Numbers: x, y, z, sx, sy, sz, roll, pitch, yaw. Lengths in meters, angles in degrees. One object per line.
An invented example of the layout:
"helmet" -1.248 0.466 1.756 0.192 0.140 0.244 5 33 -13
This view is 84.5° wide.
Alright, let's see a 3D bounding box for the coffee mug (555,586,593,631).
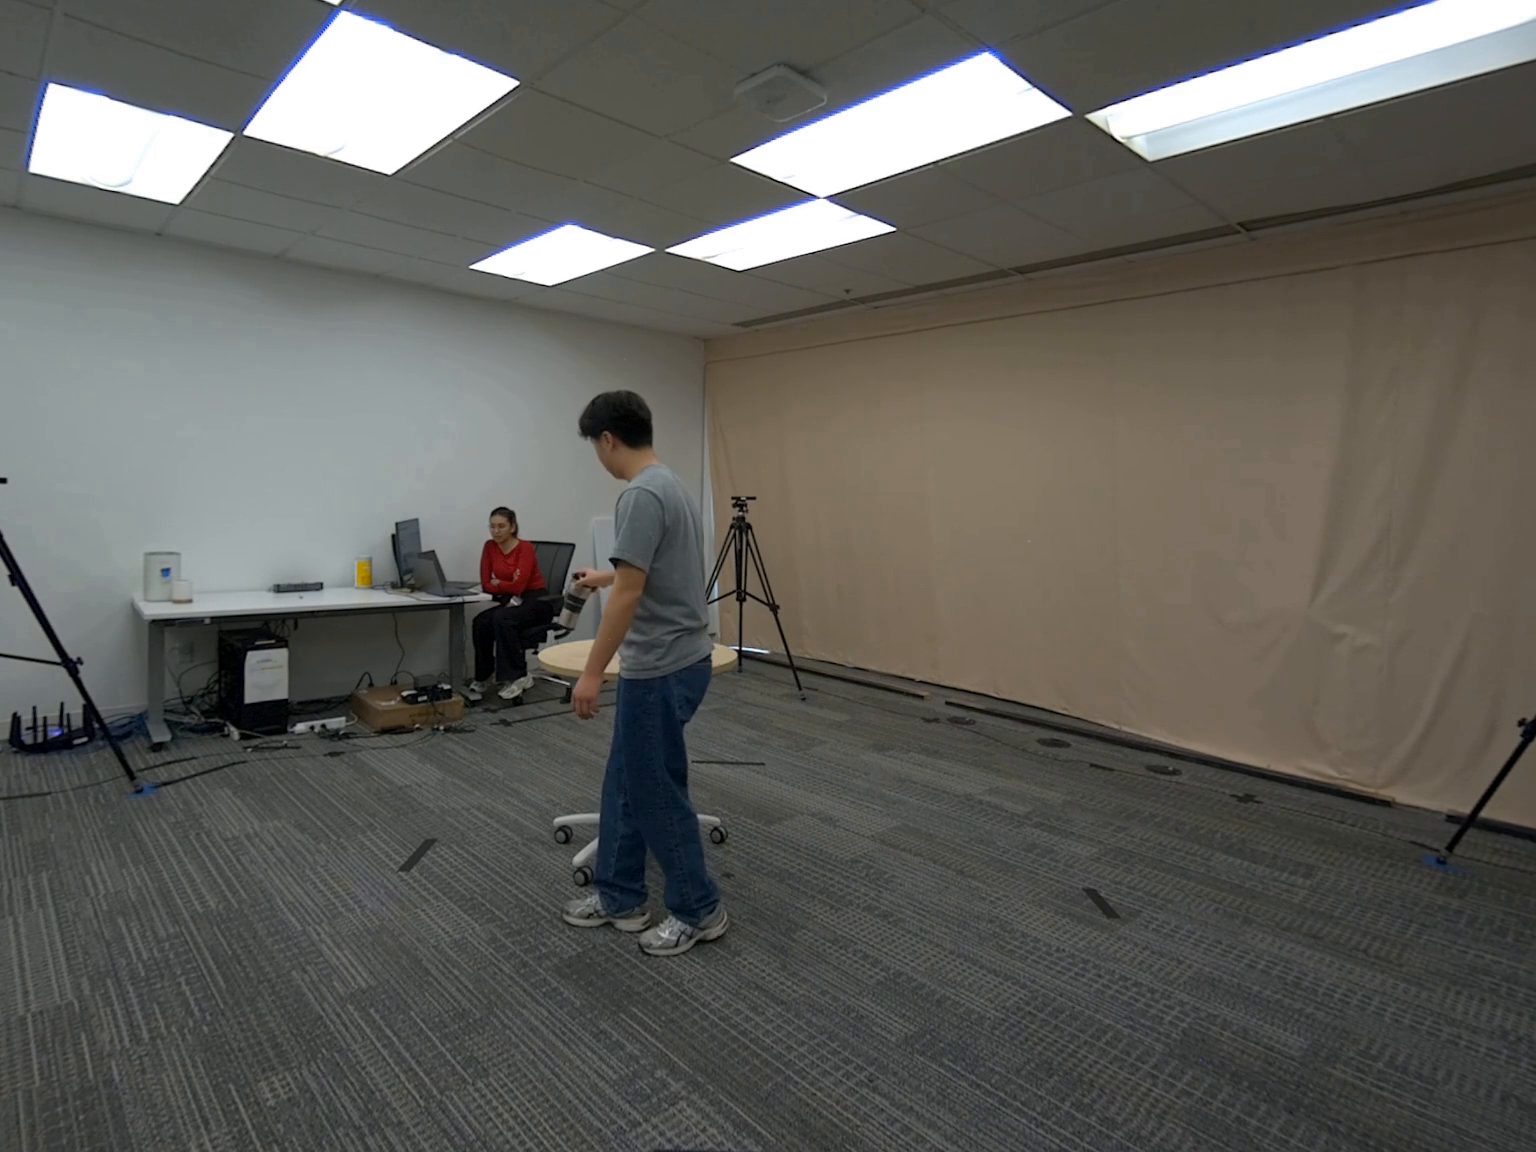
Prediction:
"coffee mug" -0.719 0.110 3.173 0.090 0.202 0.119 21 5 22
